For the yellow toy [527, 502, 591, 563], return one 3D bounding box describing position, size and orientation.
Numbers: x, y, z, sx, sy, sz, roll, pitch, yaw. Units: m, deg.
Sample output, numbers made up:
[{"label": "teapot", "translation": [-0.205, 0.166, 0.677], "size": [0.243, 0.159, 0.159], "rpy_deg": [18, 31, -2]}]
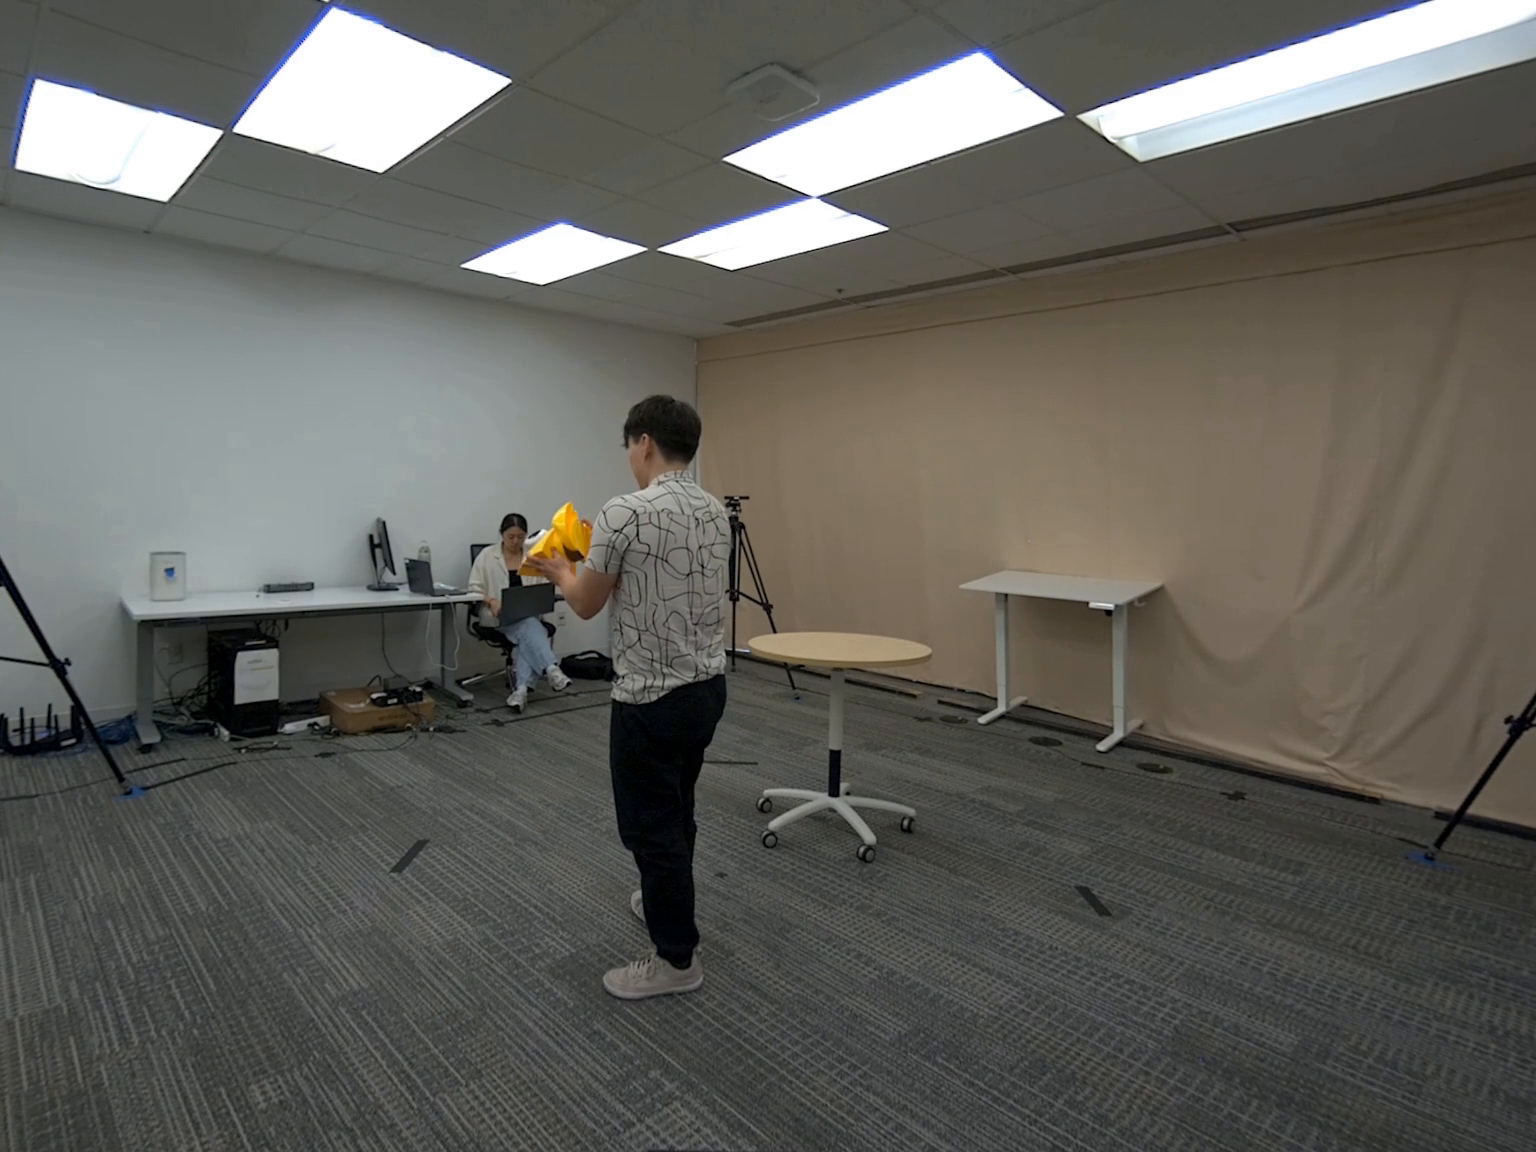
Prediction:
[{"label": "yellow toy", "translation": [-0.685, -0.083, 2.628], "size": [0.232, 0.198, 0.198], "rpy_deg": [-20, -36, 12]}]
